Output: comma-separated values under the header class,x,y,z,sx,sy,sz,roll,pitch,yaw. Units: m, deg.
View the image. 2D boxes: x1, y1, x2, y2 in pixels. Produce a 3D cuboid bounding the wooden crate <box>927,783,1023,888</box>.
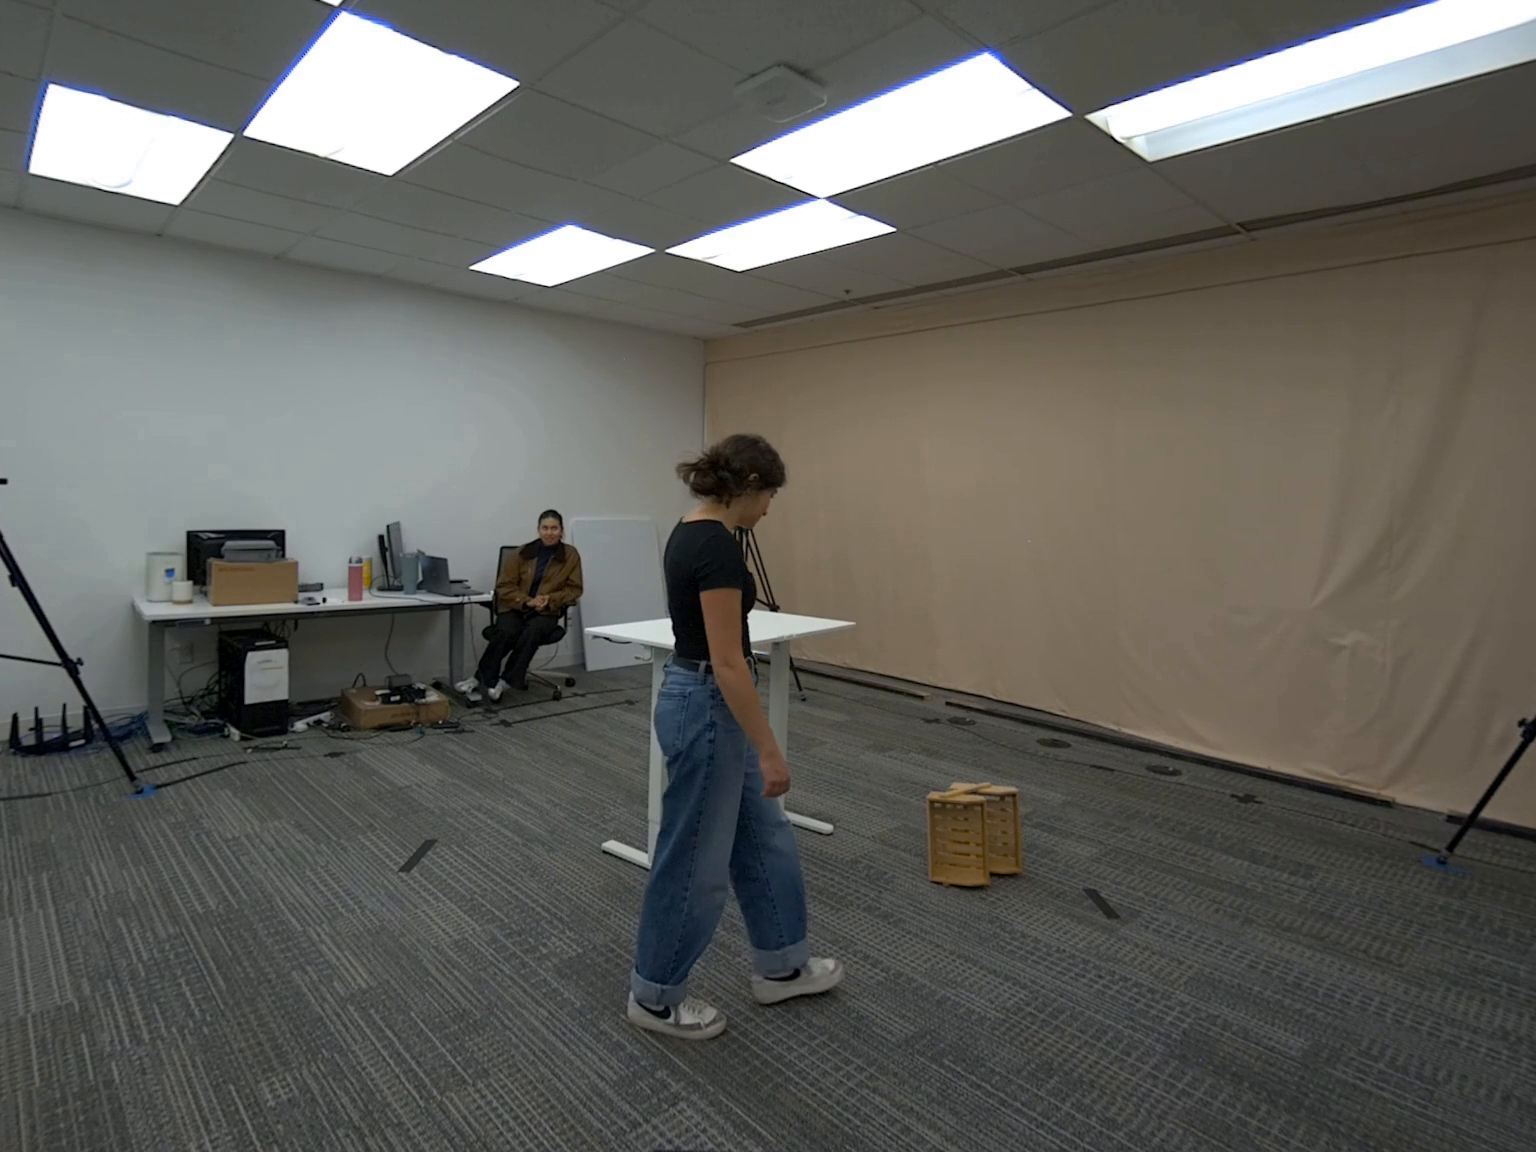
class,x,y,z,sx,sy,sz,roll,pitch,yaw
wooden crate,0.769,0.961,3.144,0.307,0.325,0.268,-3,-1,25
